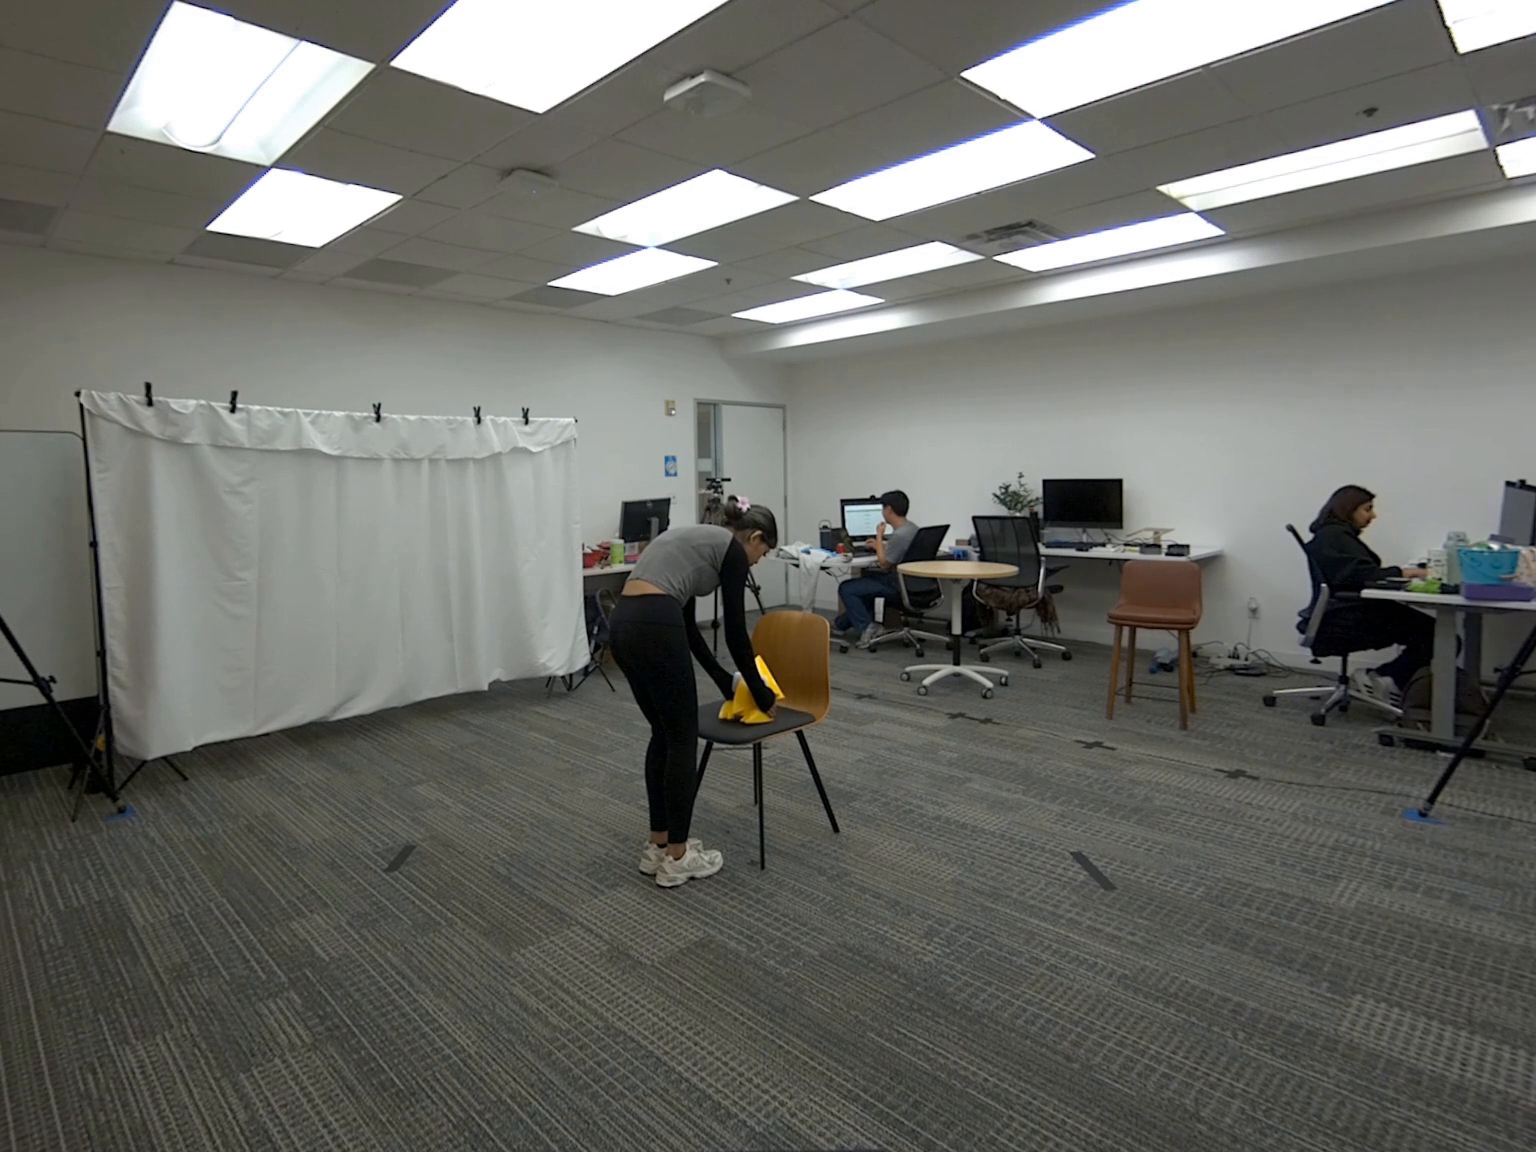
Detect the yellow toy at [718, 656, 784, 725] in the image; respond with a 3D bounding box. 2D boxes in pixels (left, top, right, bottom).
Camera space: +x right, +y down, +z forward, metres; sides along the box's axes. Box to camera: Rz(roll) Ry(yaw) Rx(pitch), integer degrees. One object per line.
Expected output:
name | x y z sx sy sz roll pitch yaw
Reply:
yellow toy | -0.076 0.420 3.237 0.211 0.231 0.187 1 -1 40
